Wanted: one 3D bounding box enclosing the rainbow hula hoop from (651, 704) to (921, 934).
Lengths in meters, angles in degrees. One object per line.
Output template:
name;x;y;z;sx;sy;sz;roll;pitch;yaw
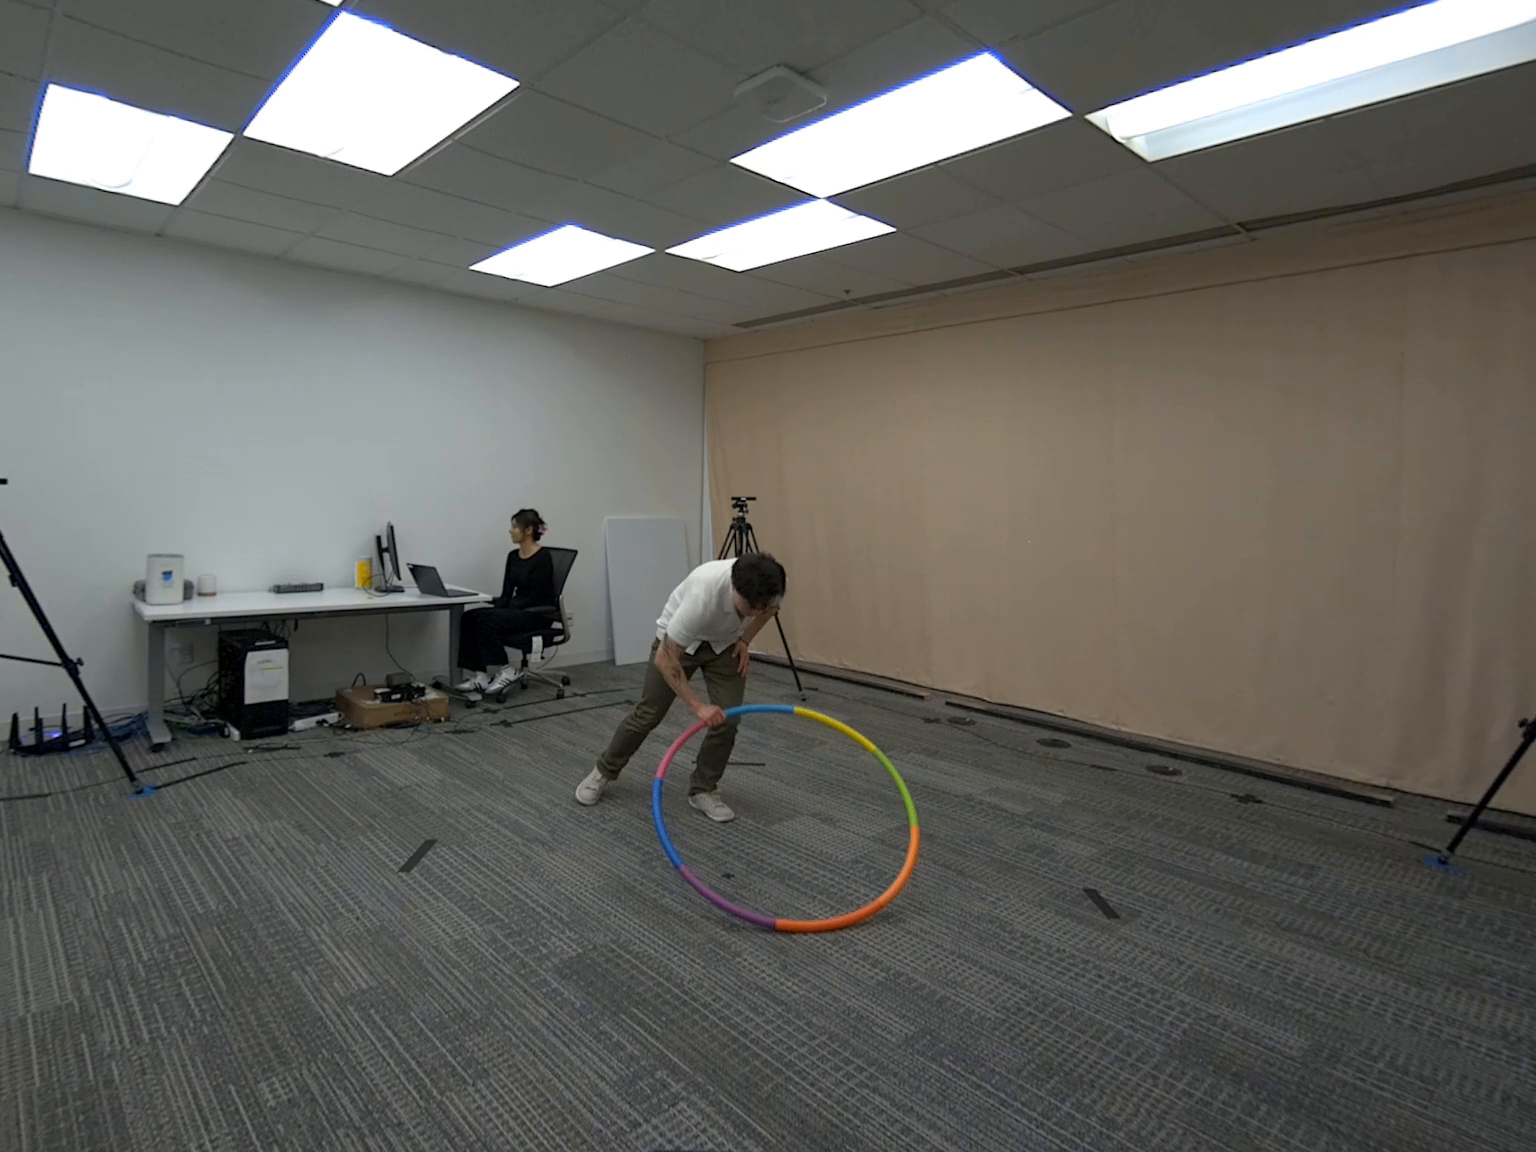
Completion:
rainbow hula hoop;0.053;0.841;3.109;0.975;0.035;1.000;5;36;-5
